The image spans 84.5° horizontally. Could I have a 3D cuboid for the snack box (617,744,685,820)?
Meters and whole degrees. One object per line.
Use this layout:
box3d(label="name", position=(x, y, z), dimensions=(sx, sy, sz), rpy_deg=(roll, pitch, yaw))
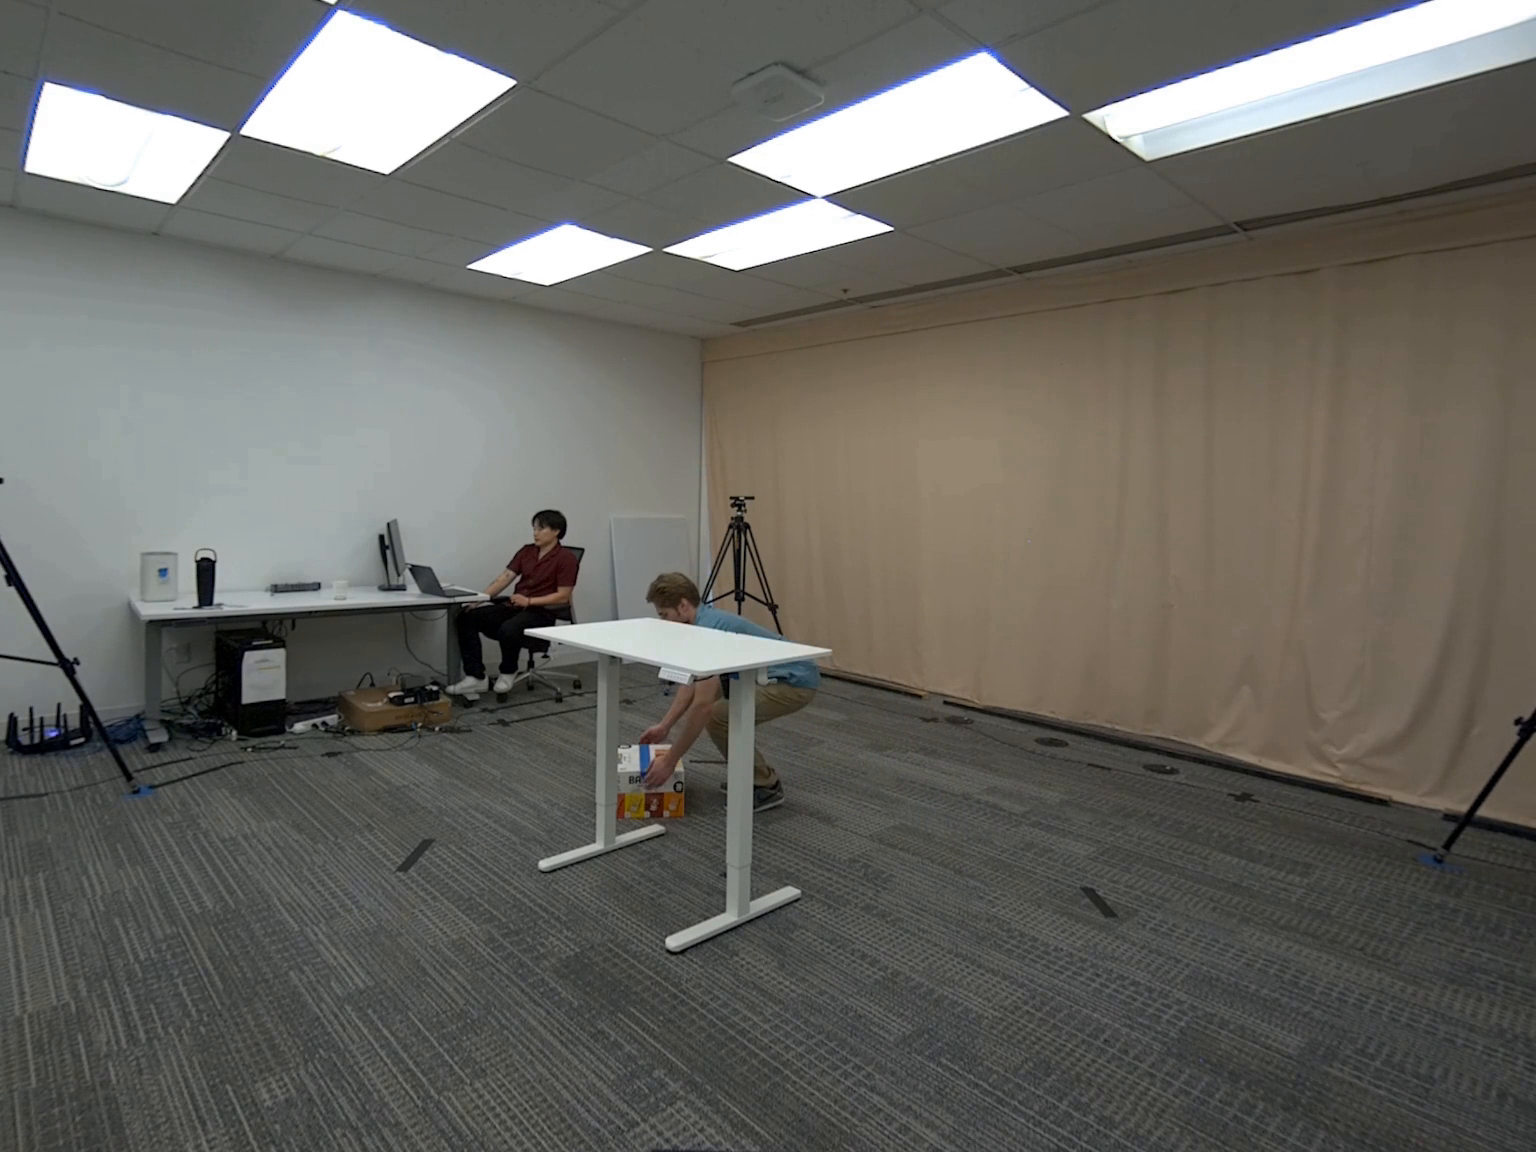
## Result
box3d(label="snack box", position=(-0.575, 0.929, 3.834), dimensions=(0.338, 0.205, 0.409), rpy_deg=(1, 5, -9))
